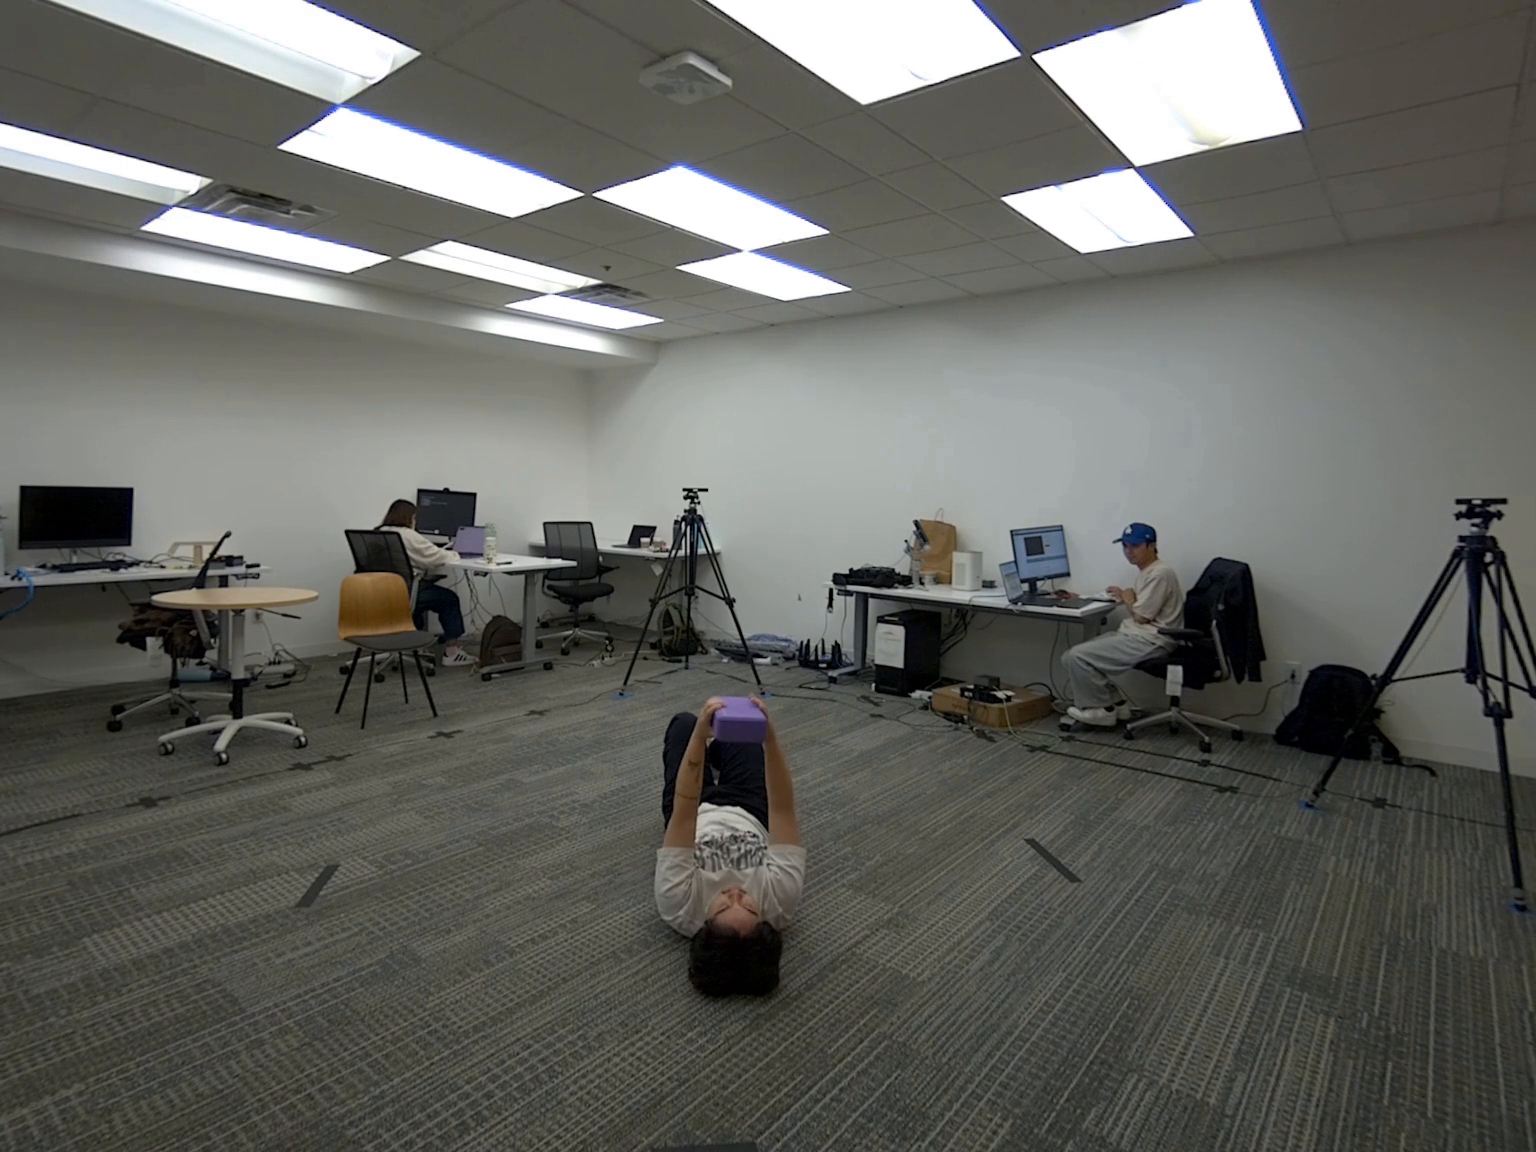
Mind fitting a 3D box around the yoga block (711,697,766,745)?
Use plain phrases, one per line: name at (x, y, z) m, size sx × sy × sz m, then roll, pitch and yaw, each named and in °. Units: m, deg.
yoga block at (-0.108, 0.433, 2.593) m, size 0.147 × 0.076 × 0.232 m, roll 3°, pitch 5°, yaw -10°
